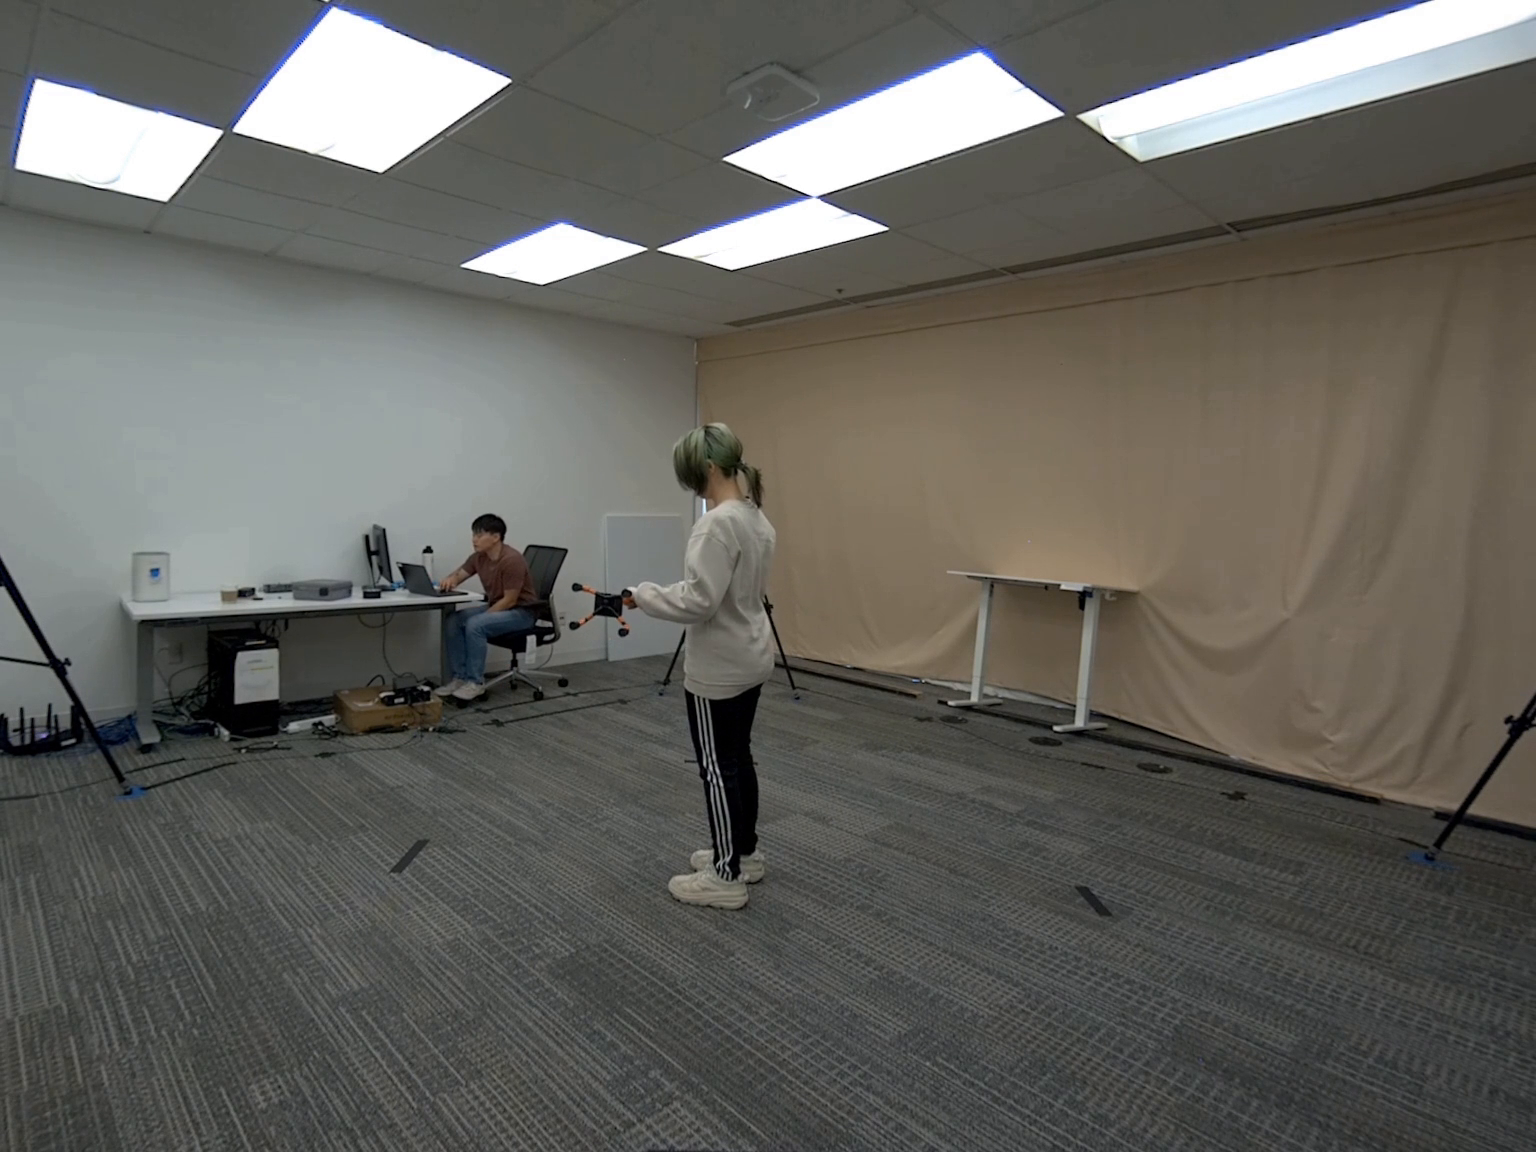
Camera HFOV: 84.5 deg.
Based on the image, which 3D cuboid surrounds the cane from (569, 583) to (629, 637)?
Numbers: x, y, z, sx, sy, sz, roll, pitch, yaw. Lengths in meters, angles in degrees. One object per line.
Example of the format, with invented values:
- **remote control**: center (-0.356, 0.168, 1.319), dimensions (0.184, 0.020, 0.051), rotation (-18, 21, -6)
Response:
- **cane**: center (-0.413, 0.089, 3.087), dimensions (0.210, 0.151, 0.896), rotation (6, 5, 18)
